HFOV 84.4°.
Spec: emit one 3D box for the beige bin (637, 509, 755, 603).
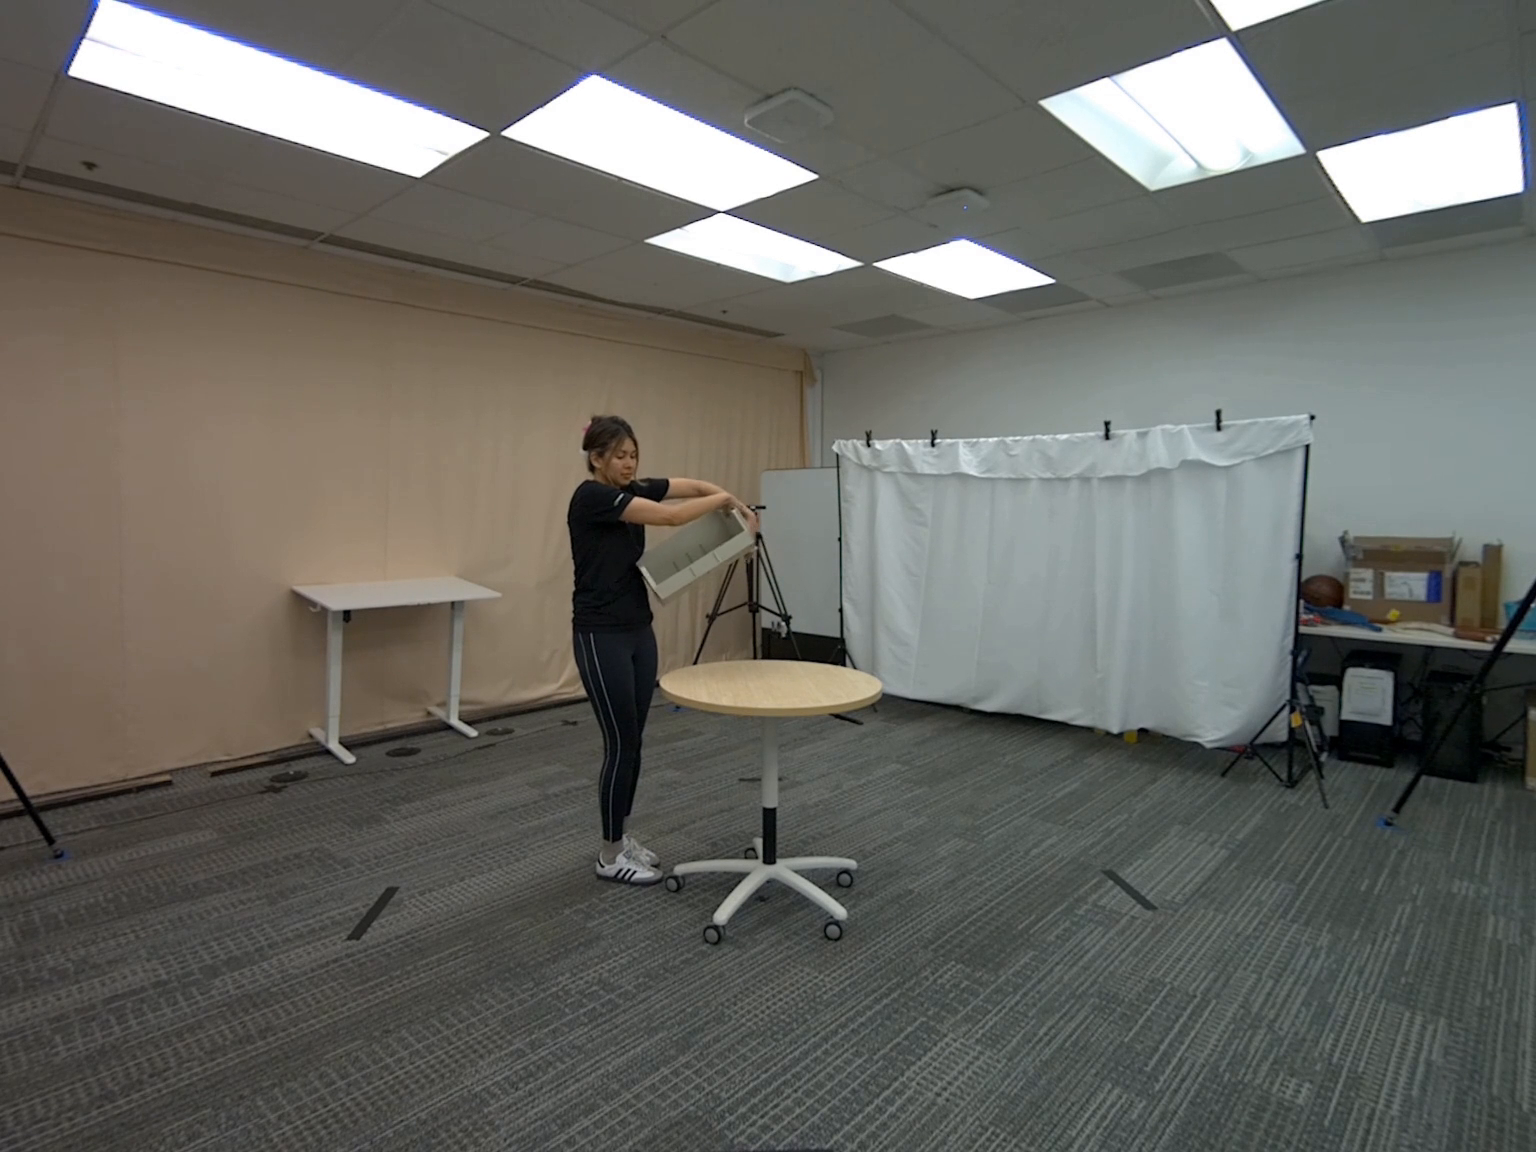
[{"bbox_3d":[-0.287,-0.081,3.232,0.420,0.187,0.383,-32,10,-9],"label":"beige bin"}]
